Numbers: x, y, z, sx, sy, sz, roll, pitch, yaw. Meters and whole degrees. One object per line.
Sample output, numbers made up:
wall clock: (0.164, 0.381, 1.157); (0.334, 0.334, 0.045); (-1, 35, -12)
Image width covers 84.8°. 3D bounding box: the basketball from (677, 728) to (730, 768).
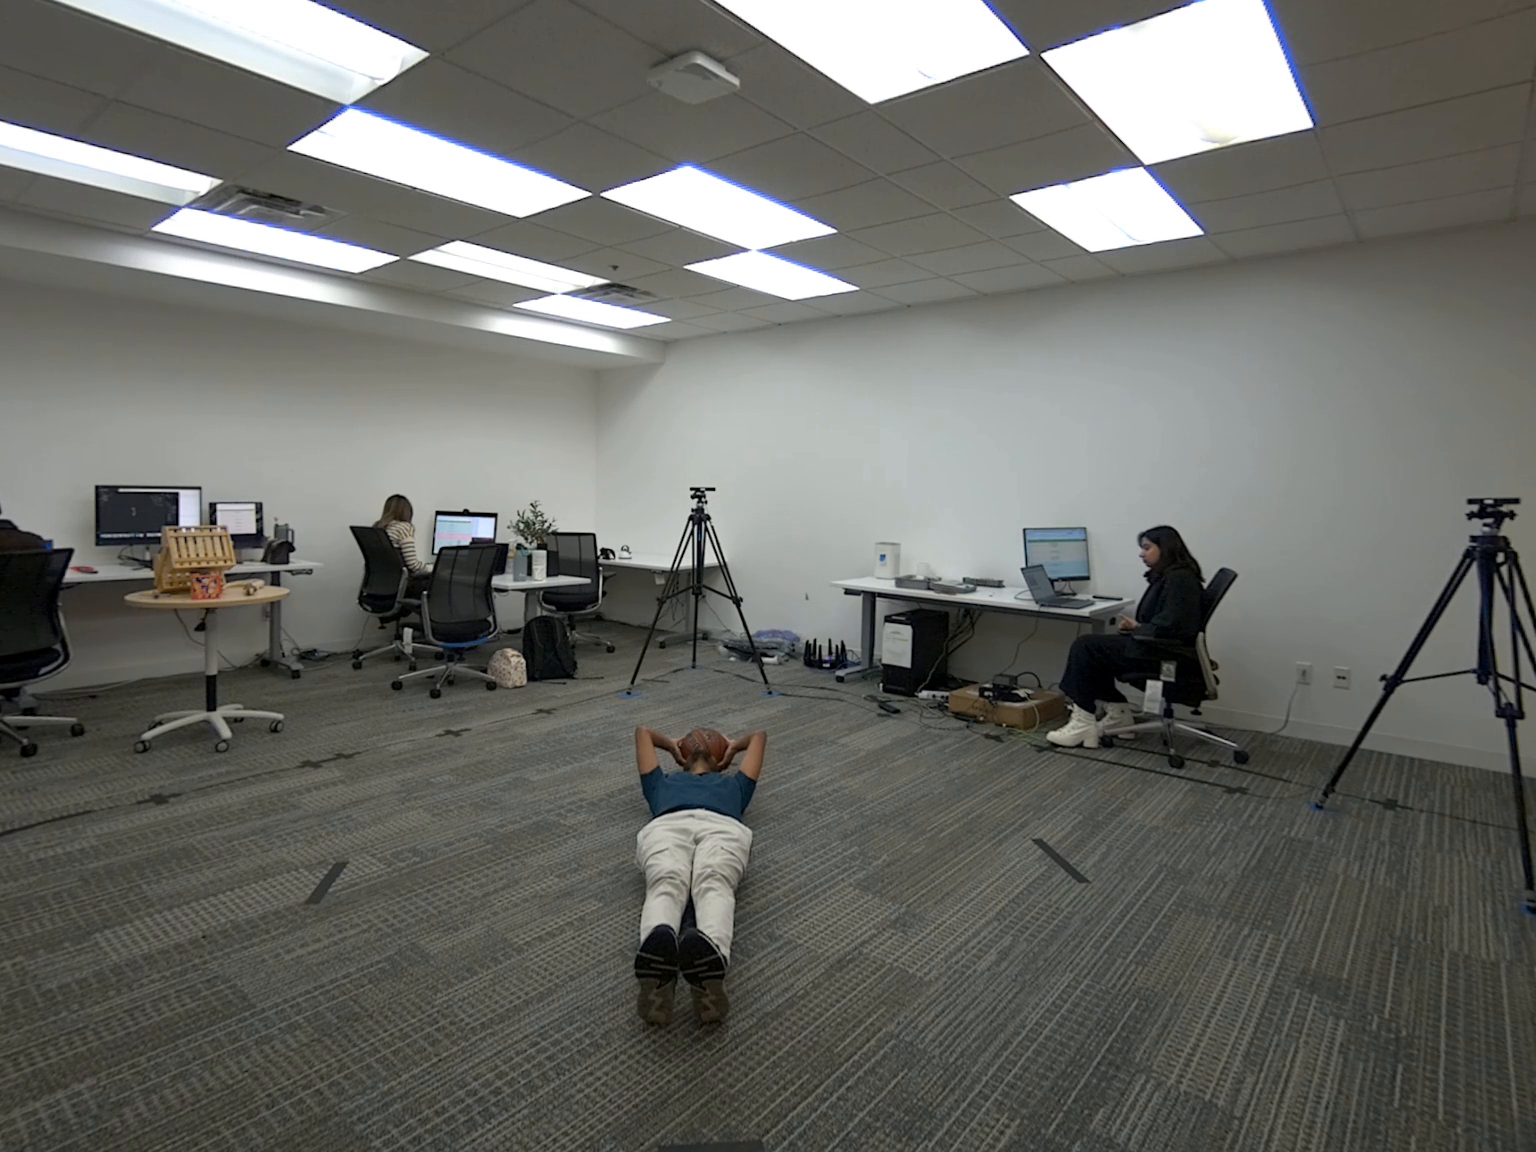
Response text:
basketball: (-0.320, 0.849, 4.099); (0.235, 0.235, 0.237); (1, 4, -2)
